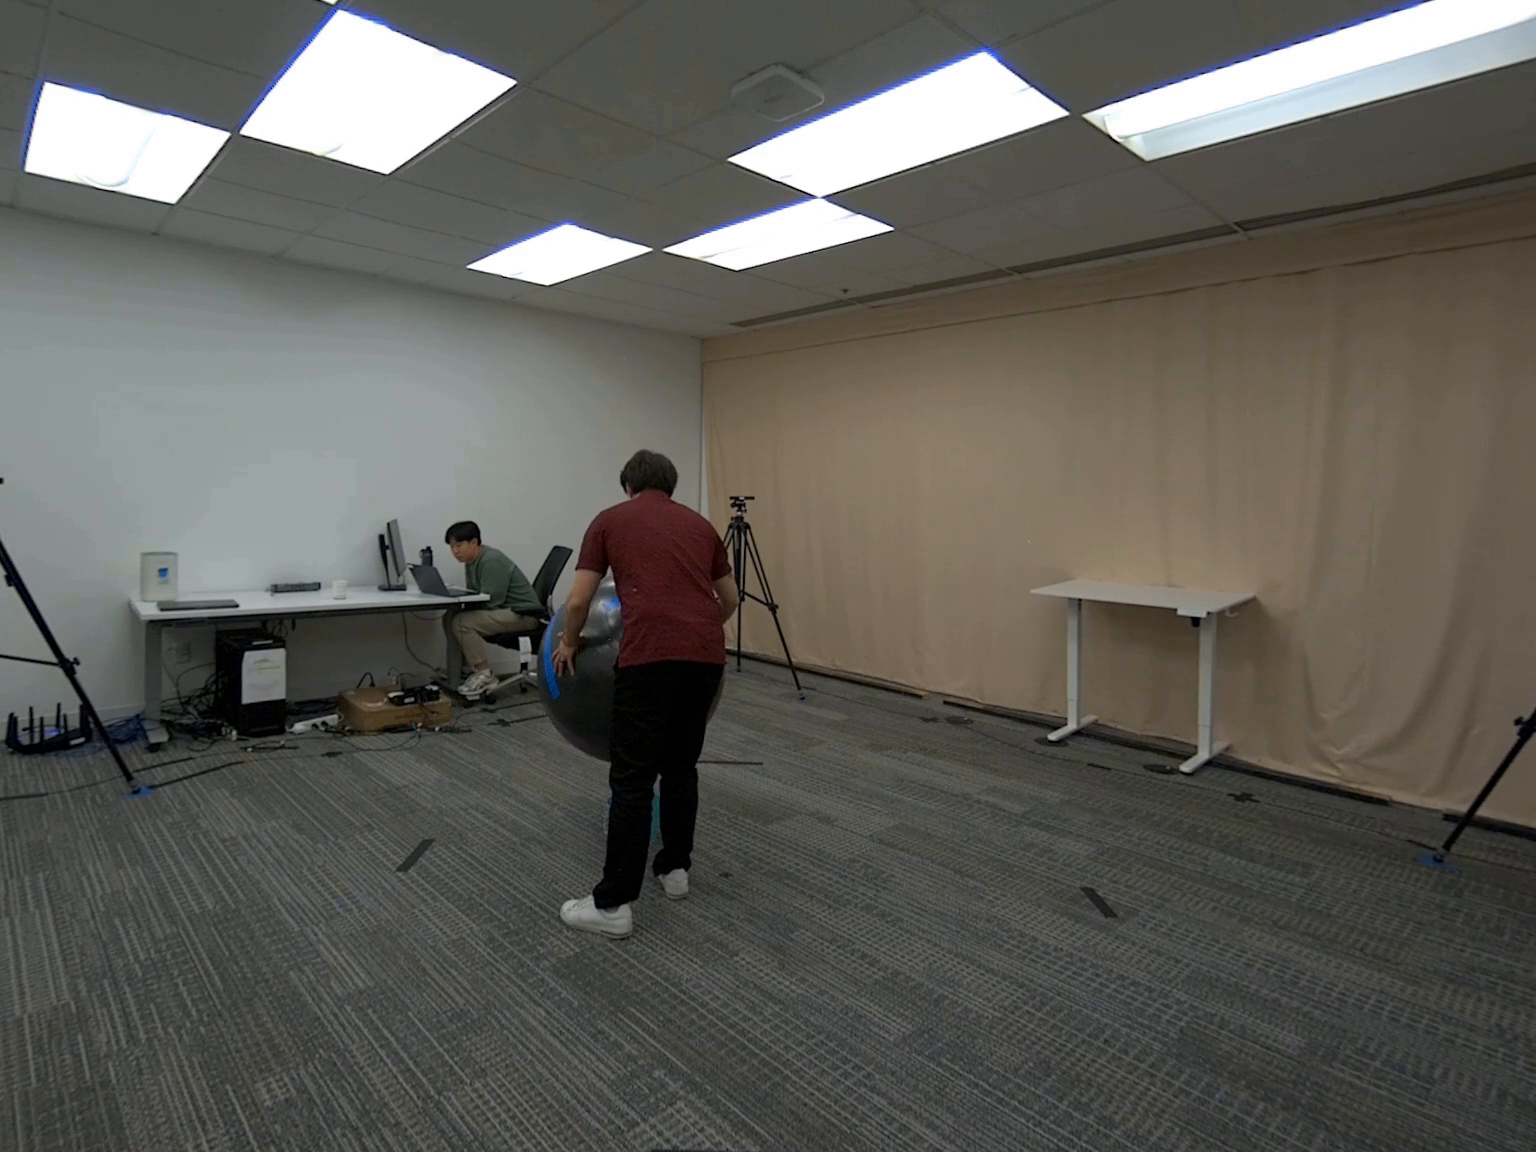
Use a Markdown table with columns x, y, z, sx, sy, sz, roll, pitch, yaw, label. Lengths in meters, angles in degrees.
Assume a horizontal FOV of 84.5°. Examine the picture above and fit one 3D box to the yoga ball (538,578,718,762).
| x | y | z | sx | sy | sz | roll | pitch | yaw | label |
| --- | --- | --- | --- | --- | --- | --- | --- | --- | --- |
| -0.555 | 0.374 | 3.415 | 0.757 | 0.756 | 0.761 | 1 | 4 | -1 | yoga ball |
